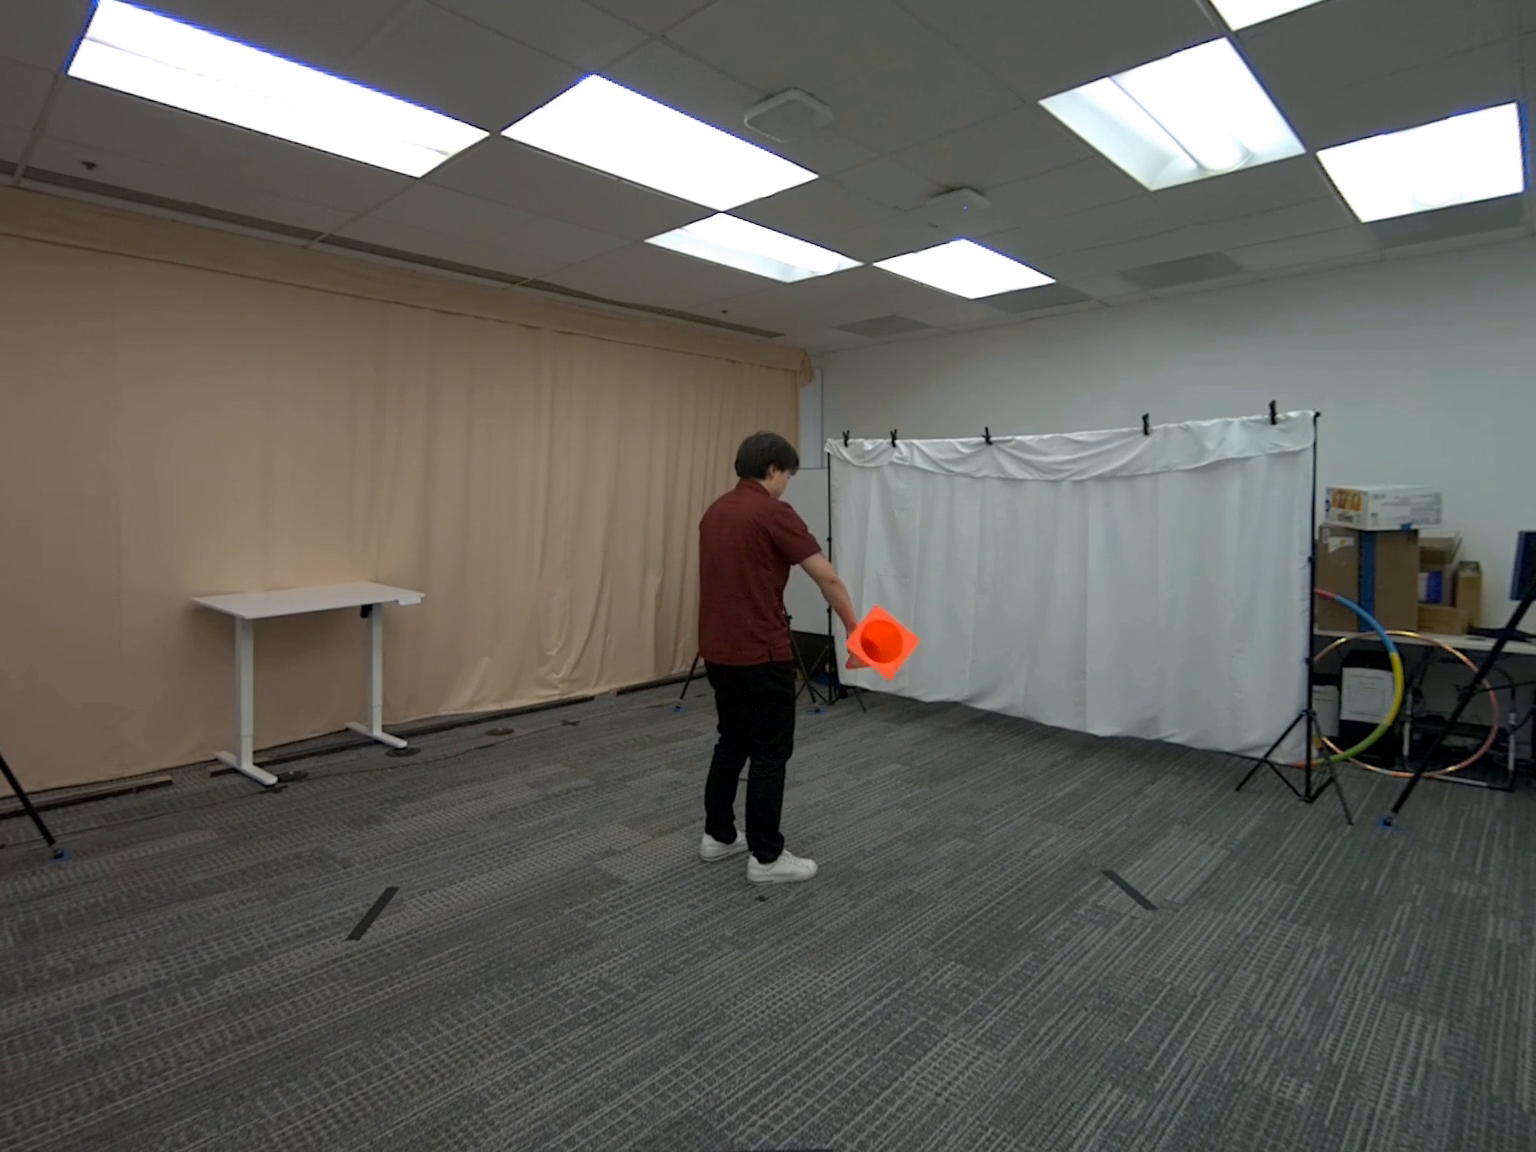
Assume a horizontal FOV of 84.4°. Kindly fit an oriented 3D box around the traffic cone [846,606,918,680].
[{"bbox_3d":[0.366,0.291,3.120,0.202,0.207,0.382,-44,-6,-20],"label":"traffic cone"}]
